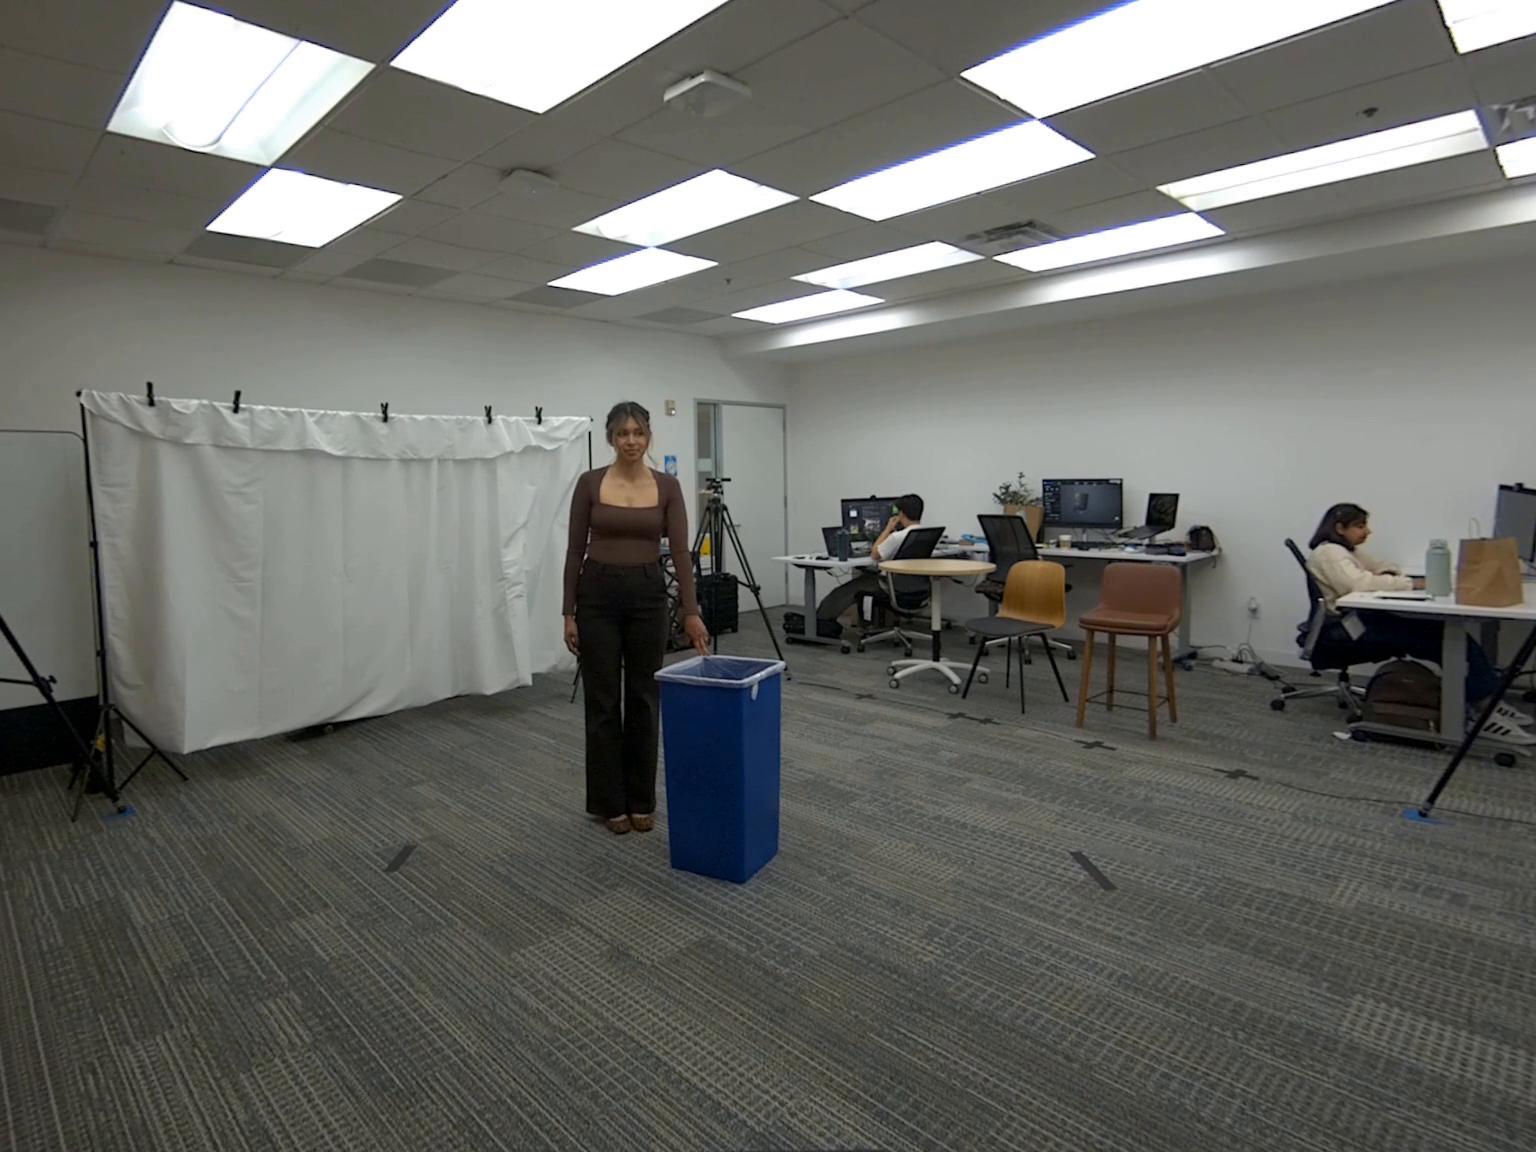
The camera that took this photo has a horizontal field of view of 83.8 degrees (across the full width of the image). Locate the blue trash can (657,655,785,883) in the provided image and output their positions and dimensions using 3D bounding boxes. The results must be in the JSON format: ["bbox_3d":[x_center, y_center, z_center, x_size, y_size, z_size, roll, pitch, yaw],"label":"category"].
[{"bbox_3d":[-0.166,0.683,3.118,0.383,0.711,0.370,1,4,27],"label":"blue trash can"}]
